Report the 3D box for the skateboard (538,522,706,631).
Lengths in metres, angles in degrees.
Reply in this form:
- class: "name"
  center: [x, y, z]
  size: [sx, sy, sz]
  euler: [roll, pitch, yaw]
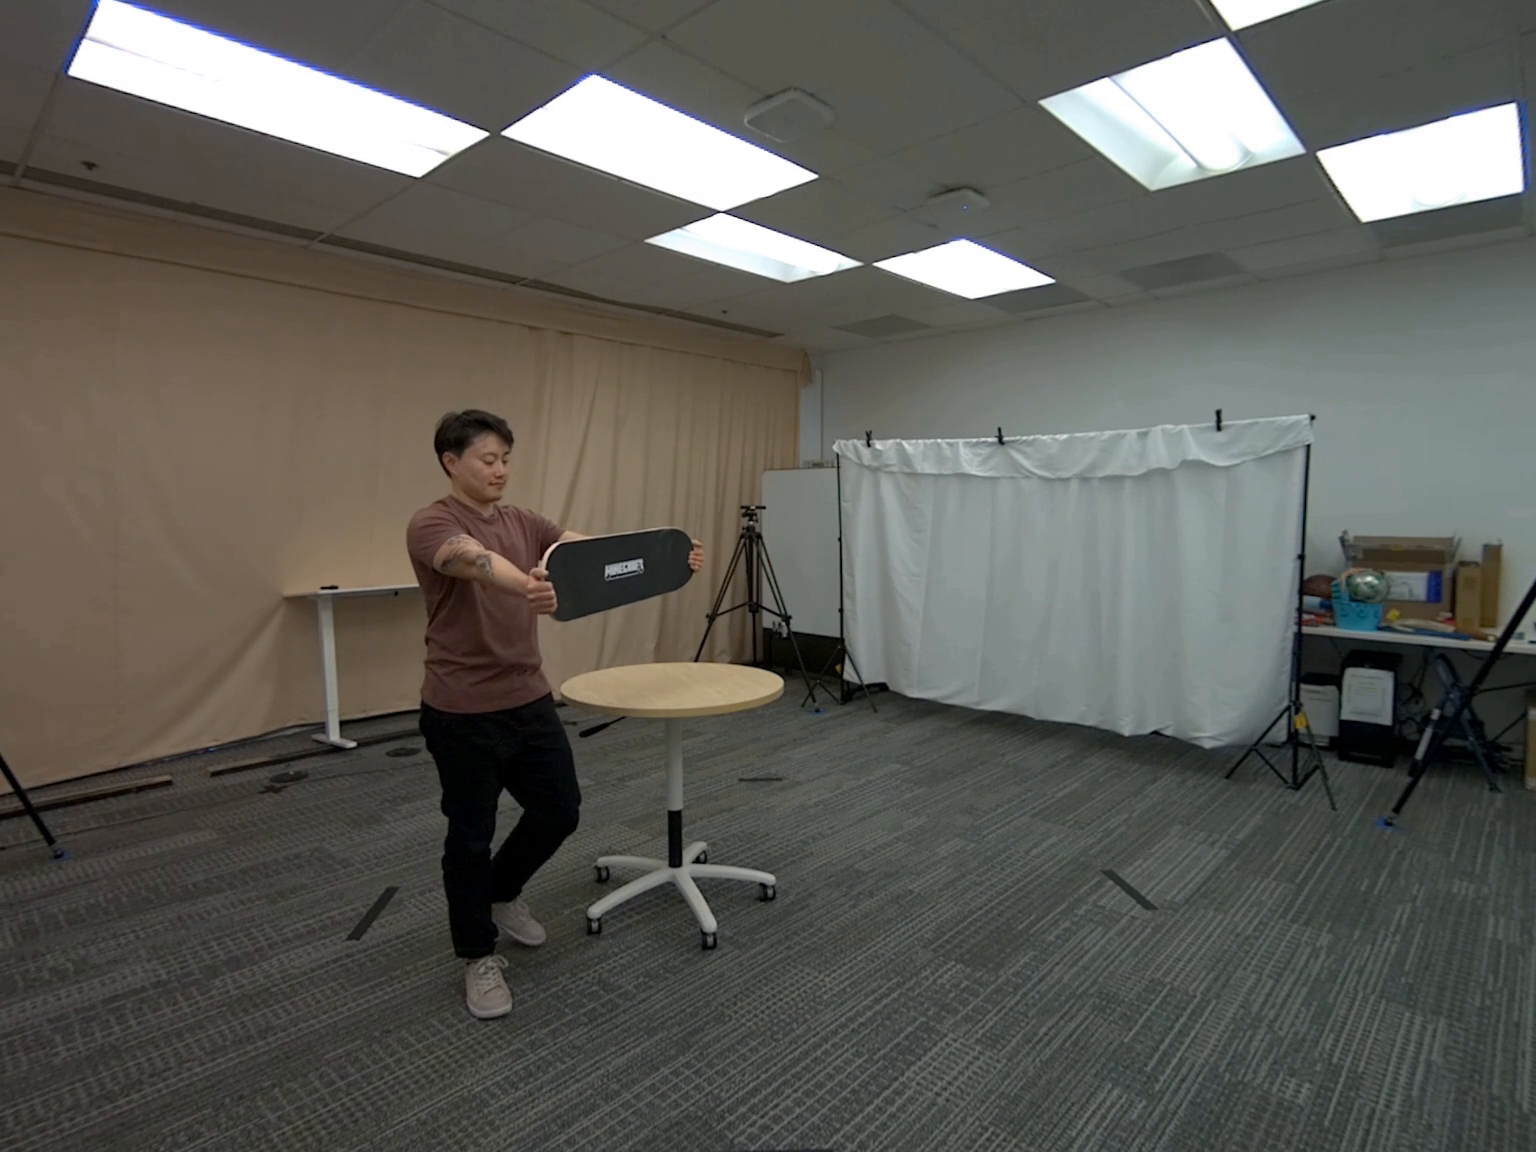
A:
- class: "skateboard"
  center: [-0.399, -0.023, 2.286]
  size: [0.113, 0.192, 0.769]
  euler: [2, 8, 23]
